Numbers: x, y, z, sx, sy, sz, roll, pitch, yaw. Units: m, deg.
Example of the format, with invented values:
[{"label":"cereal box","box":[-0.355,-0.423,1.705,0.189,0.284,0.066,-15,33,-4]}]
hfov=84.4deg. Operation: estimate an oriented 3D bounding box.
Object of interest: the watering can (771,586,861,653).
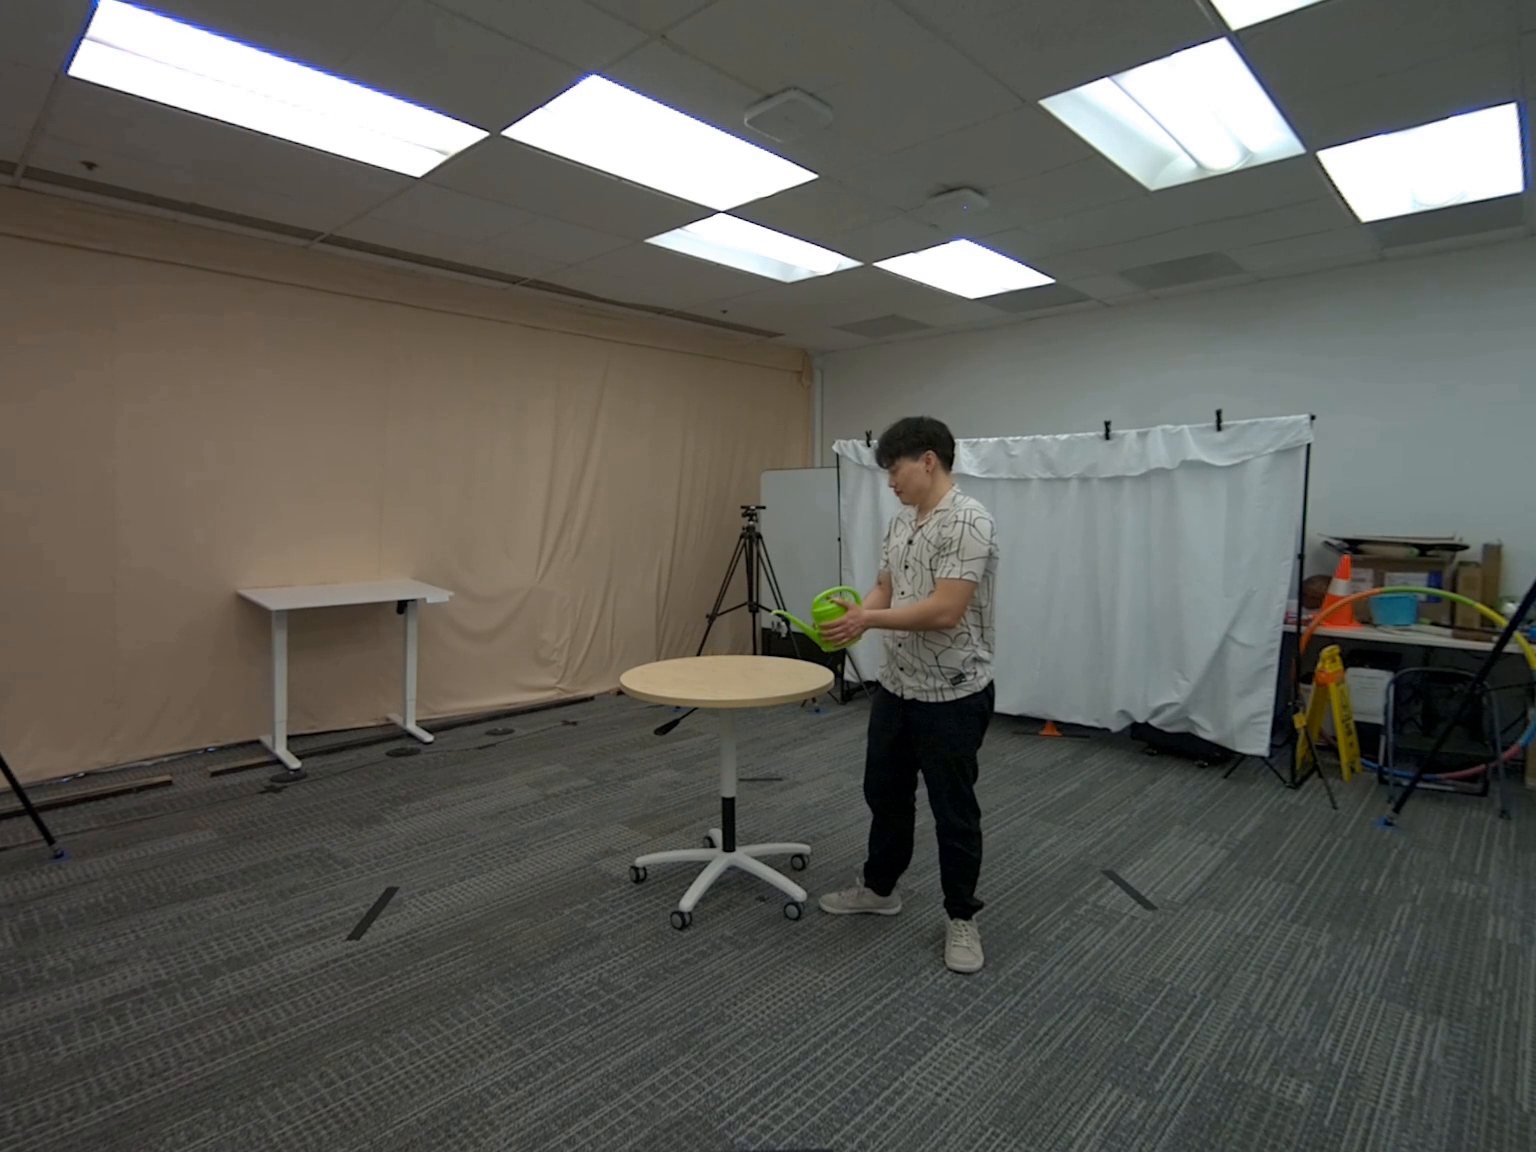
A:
[{"label":"watering can","box":[0.166,0.141,2.572,0.280,0.176,0.098,-17,7,9]}]
